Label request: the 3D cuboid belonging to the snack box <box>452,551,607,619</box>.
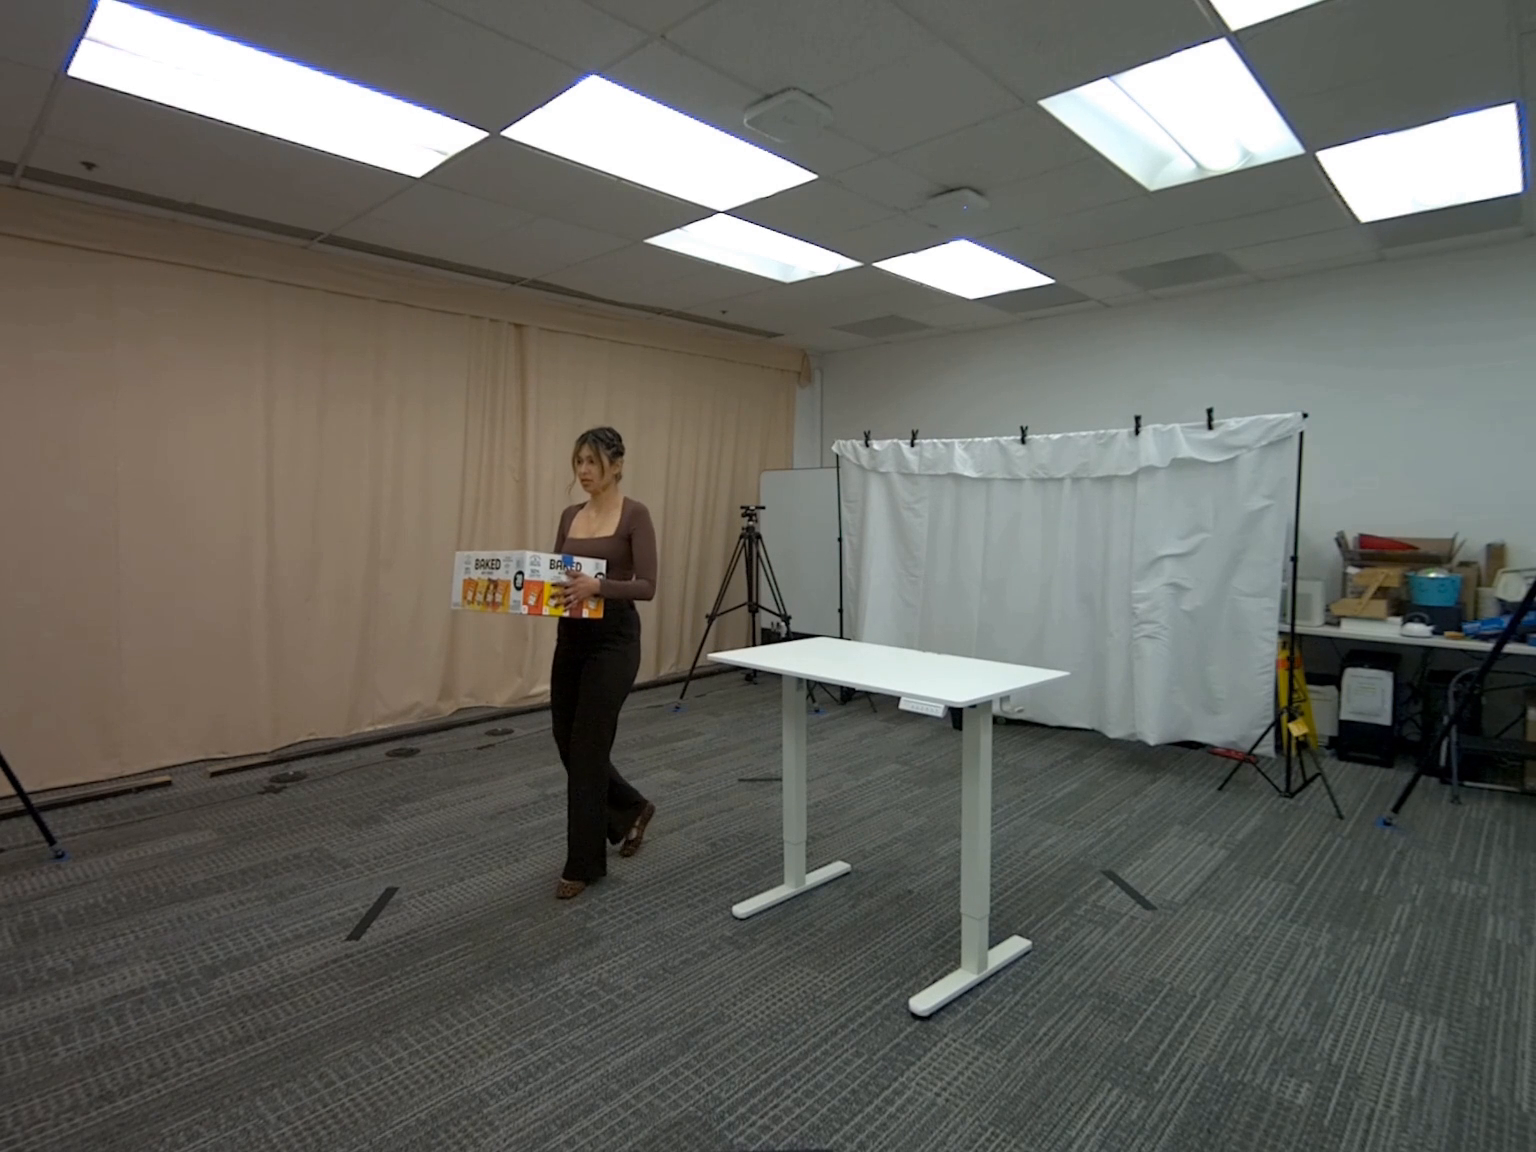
[{"bbox_3d":[-0.818,0.034,2.917,0.418,0.206,0.329,0,-5,40],"label":"snack box"}]
